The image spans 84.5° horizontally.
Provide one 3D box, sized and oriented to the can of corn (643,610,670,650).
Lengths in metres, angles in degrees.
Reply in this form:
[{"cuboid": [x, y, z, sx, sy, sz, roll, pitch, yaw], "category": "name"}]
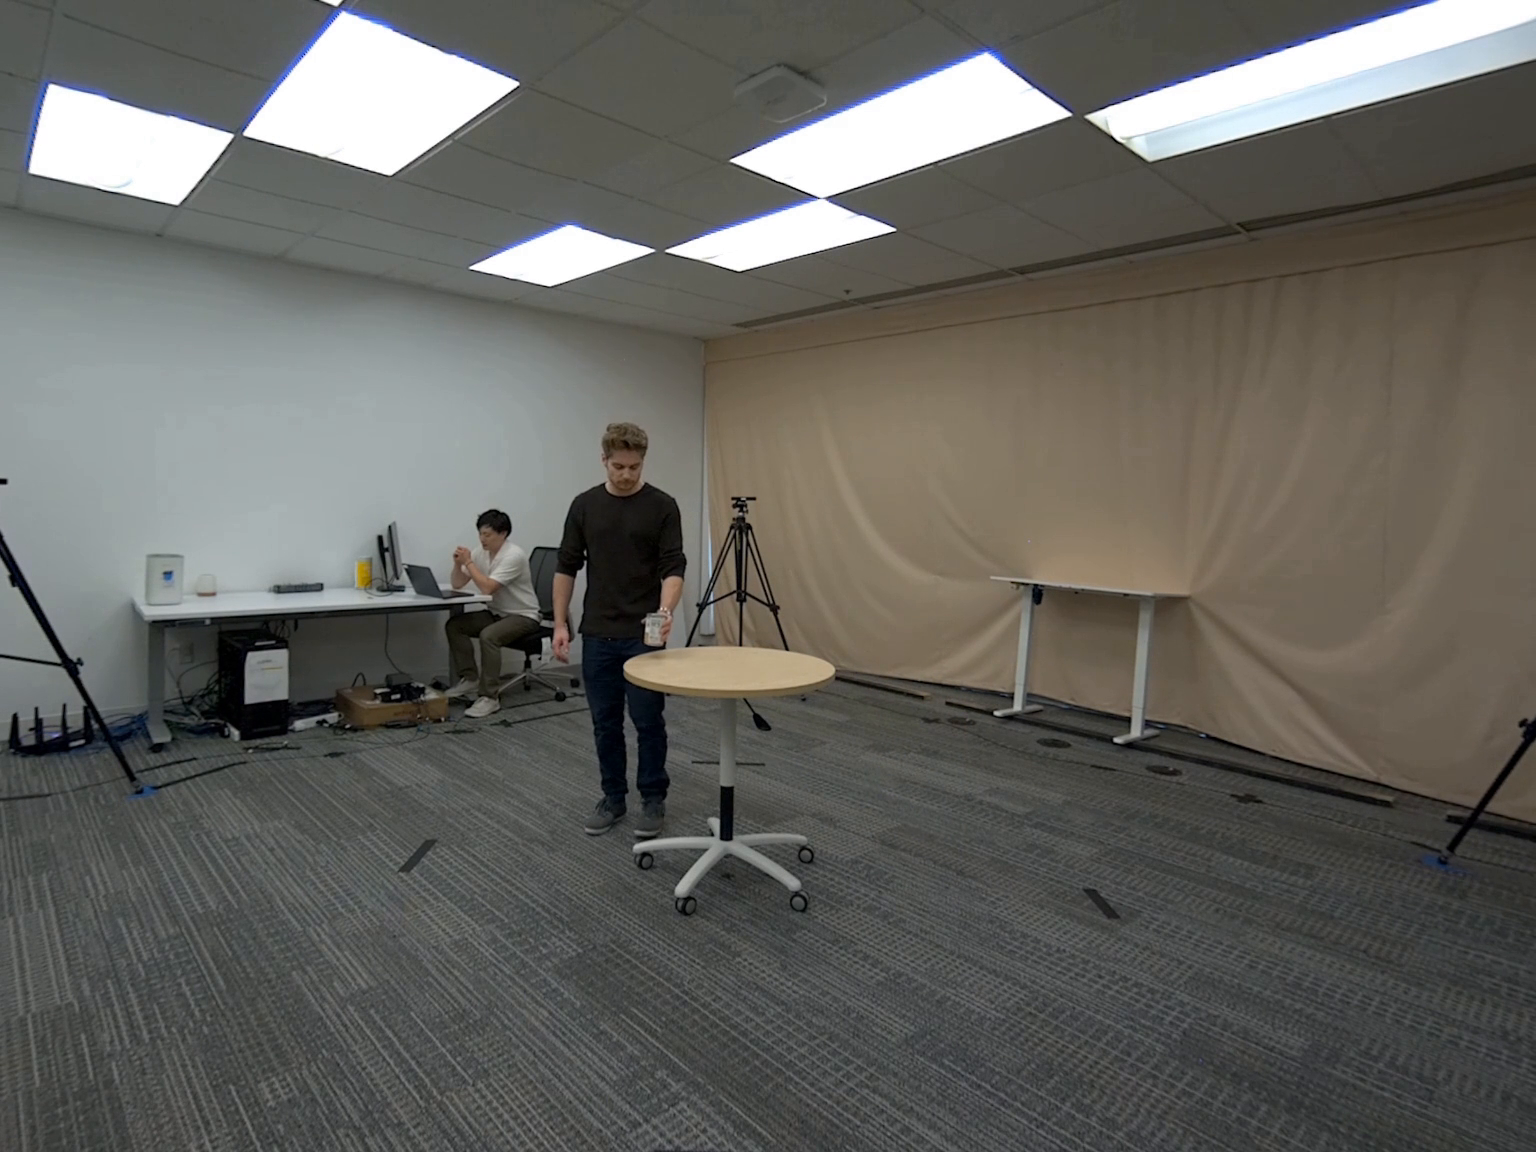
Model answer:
[{"cuboid": [-0.434, 0.202, 3.189, 0.074, 0.111, 0.074, 3, 2, -2], "category": "can of corn"}]
